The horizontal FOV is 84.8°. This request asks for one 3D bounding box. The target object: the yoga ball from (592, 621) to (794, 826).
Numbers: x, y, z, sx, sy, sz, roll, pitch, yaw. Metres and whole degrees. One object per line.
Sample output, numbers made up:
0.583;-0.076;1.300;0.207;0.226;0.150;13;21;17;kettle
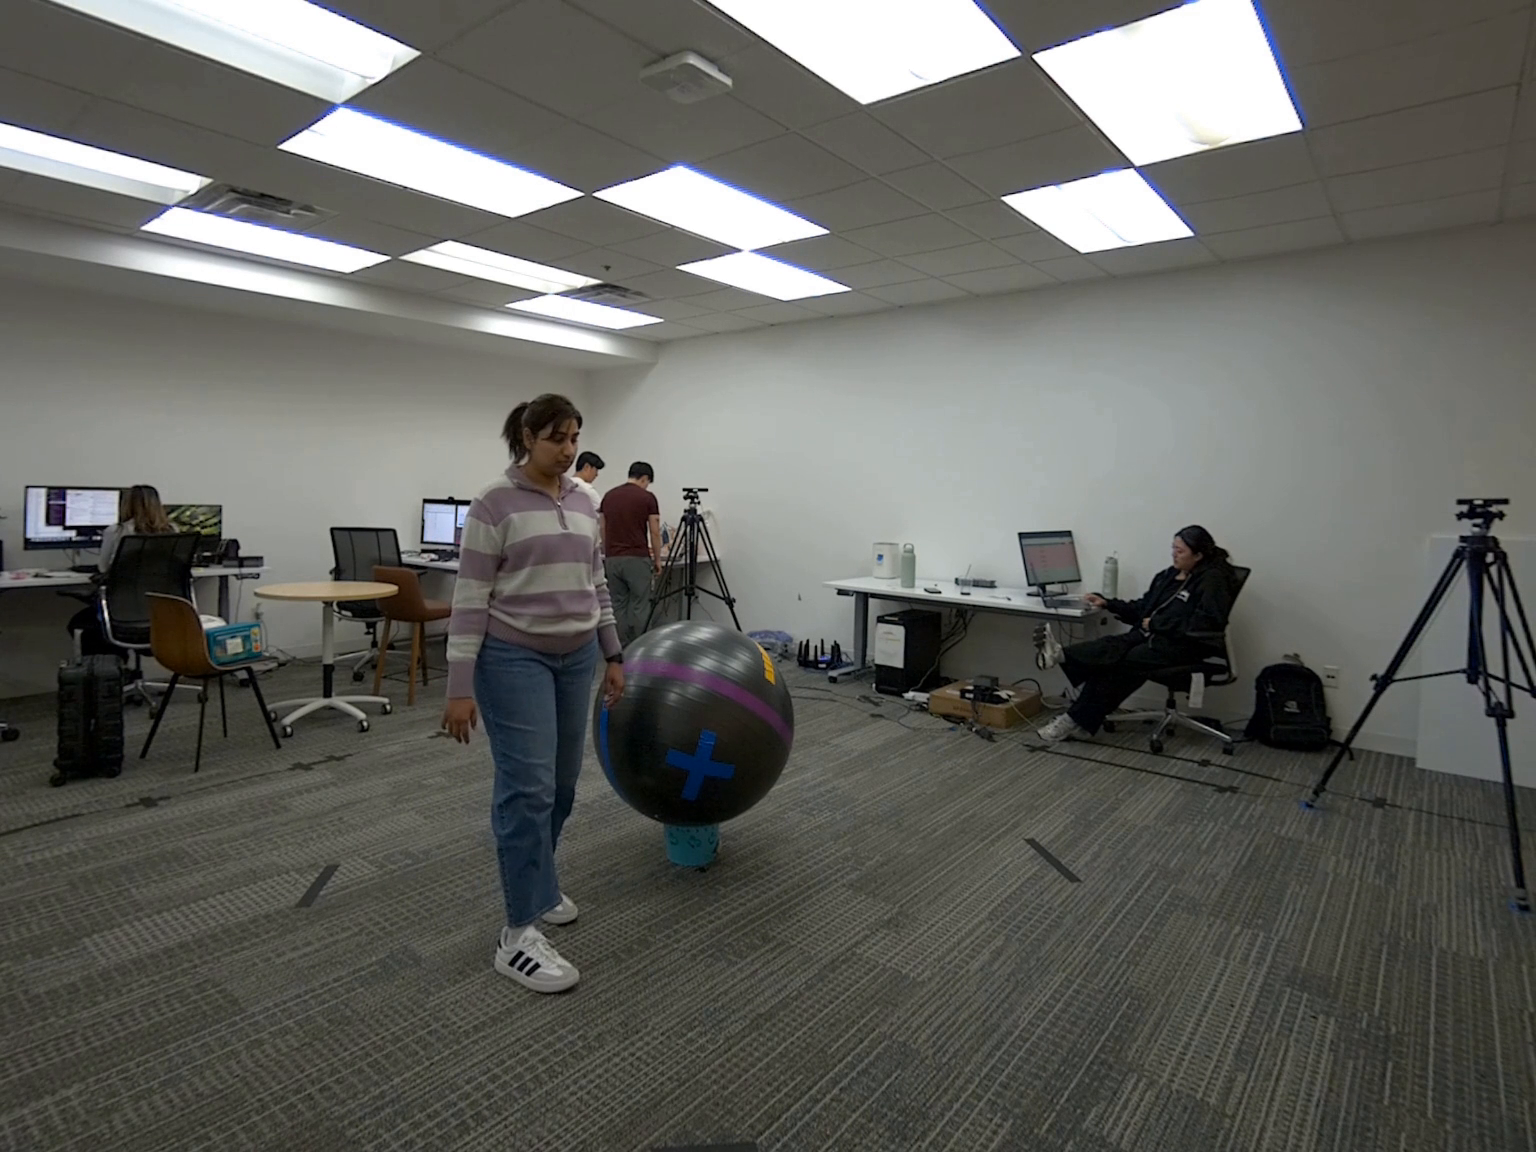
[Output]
-0.290;0.546;3.206;0.757;0.756;0.762;1;4;-2;yoga ball
